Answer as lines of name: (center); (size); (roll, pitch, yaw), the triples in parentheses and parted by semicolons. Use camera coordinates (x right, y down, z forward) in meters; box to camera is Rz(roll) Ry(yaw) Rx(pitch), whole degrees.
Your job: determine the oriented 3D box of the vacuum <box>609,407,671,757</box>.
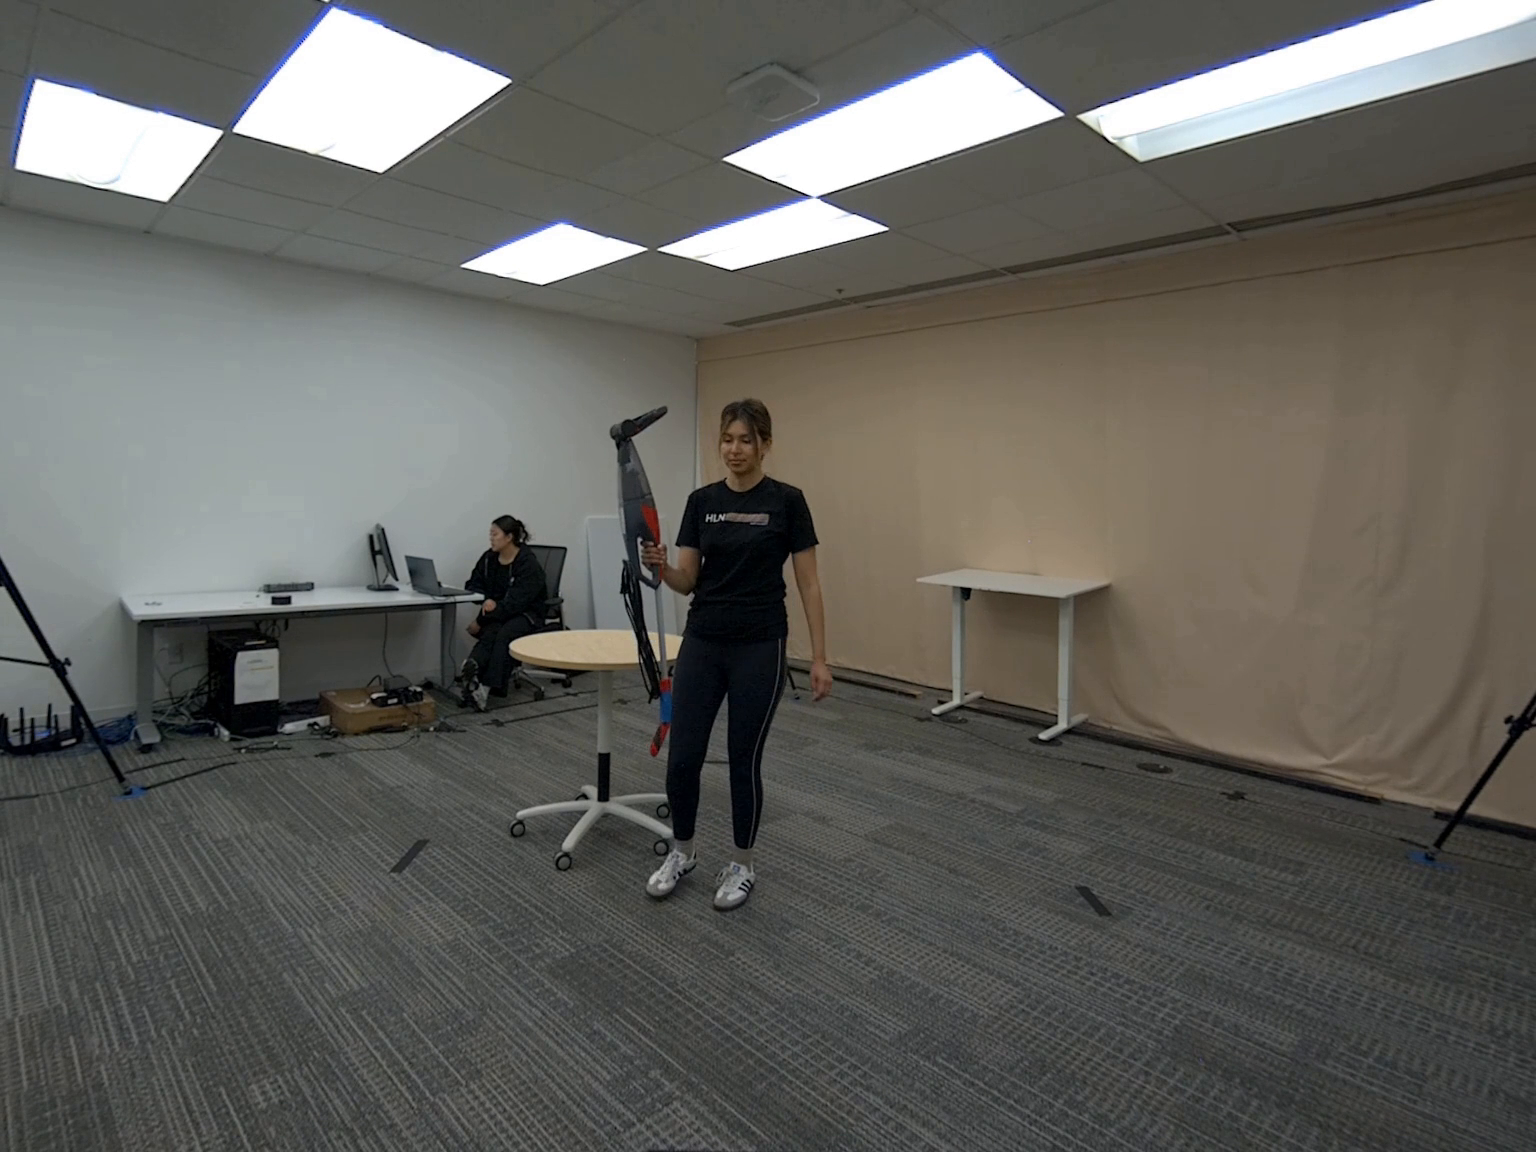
vacuum: (-0.399, 0.035, 2.608); (0.142, 1.050, 0.256); (-1, -1, -23)
